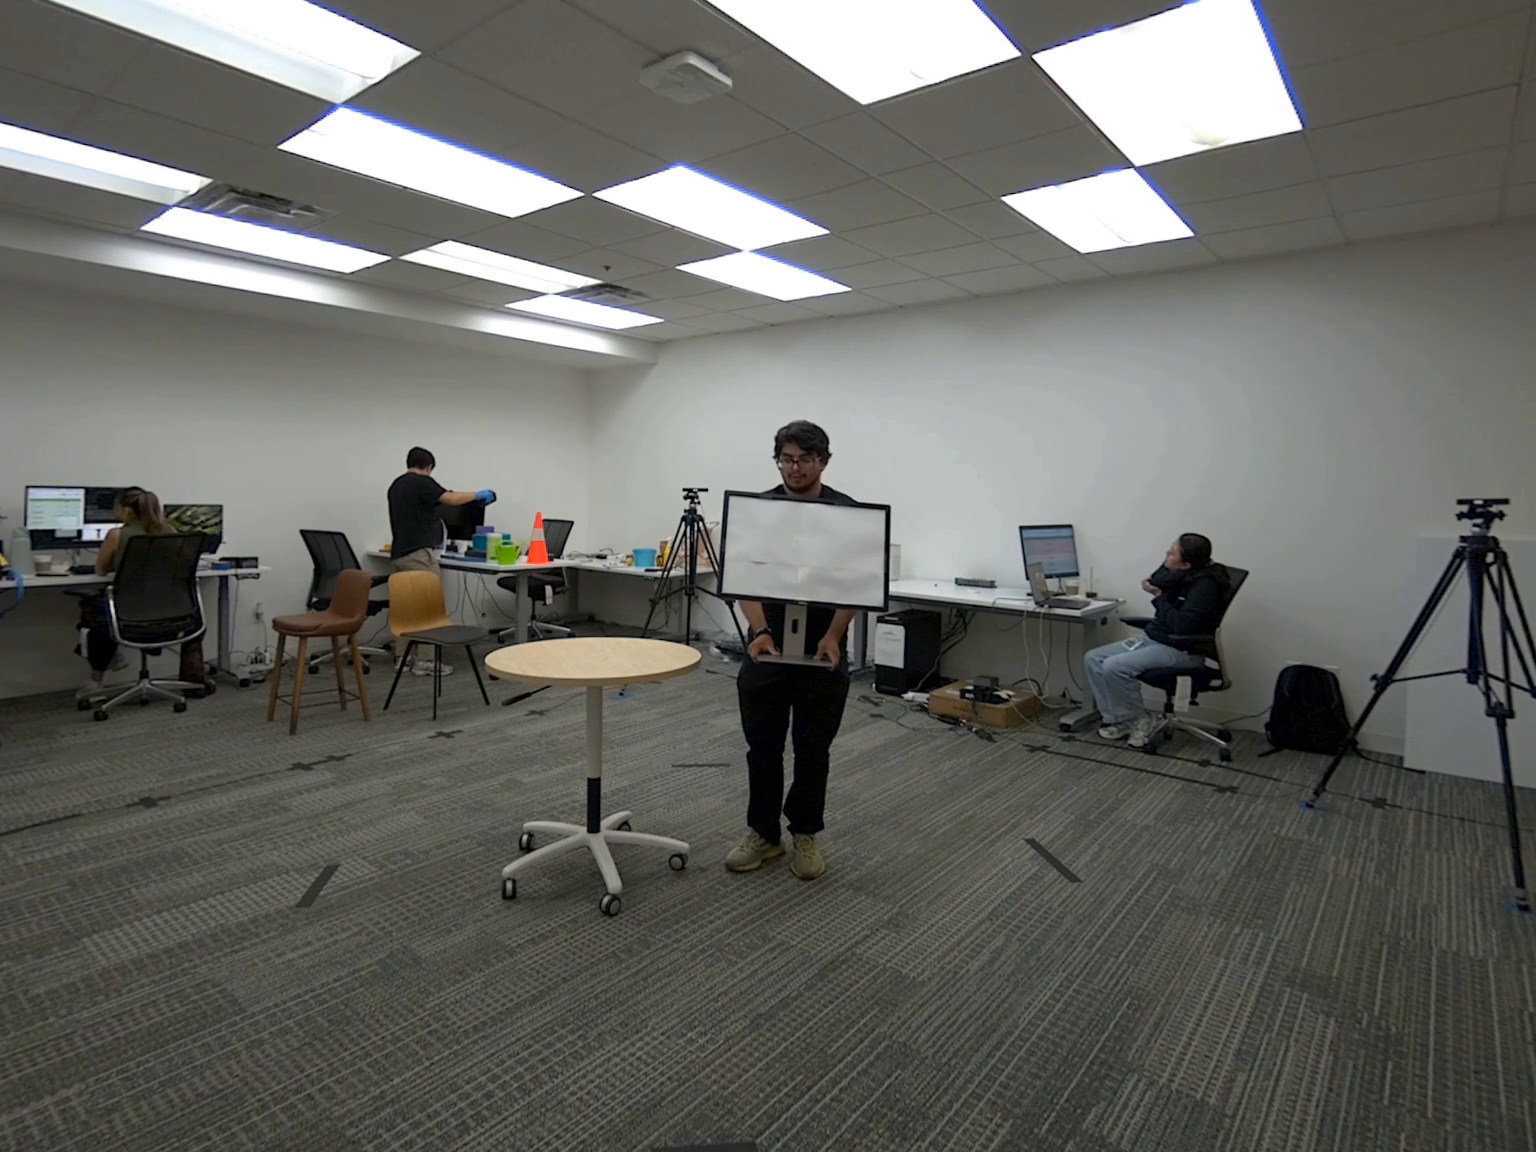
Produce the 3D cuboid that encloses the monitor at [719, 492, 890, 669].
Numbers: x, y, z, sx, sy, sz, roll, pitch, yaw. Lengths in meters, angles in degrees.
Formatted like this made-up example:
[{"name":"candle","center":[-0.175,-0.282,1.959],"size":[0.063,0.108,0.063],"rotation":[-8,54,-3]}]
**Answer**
[{"name":"monitor","center":[0.108,0.009,2.844],"size":[0.563,0.558,0.209],"rotation":[5,-9,-3]}]
